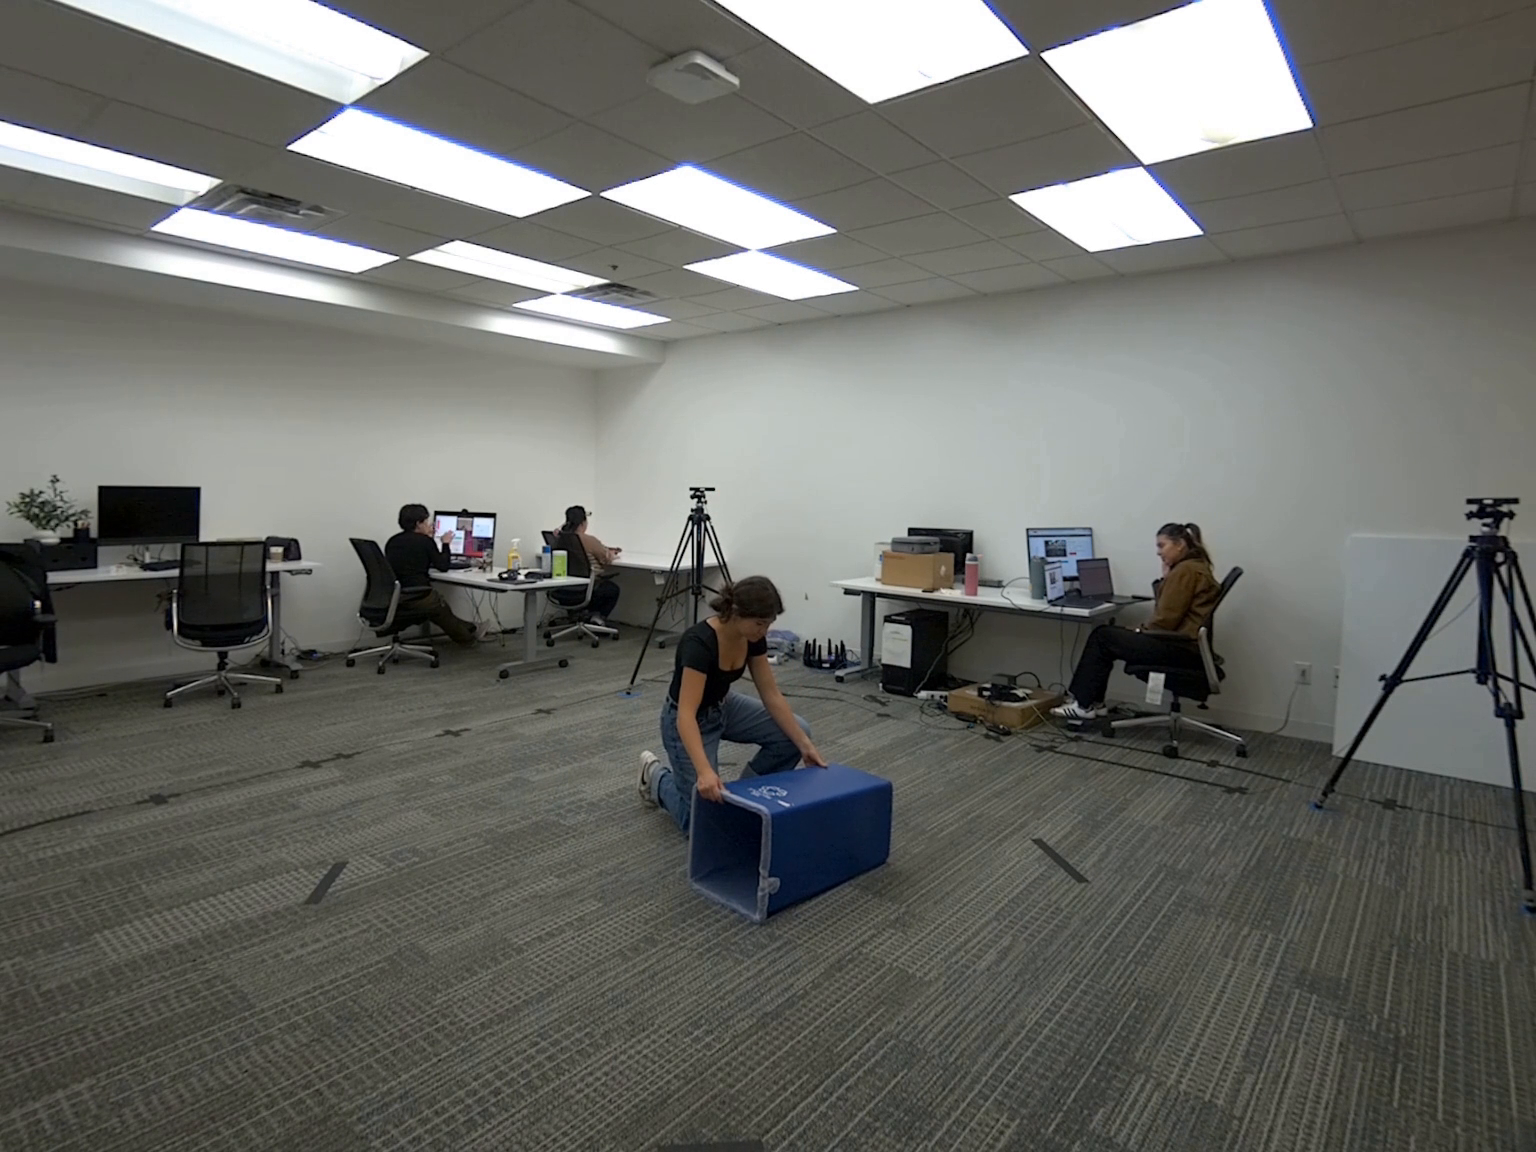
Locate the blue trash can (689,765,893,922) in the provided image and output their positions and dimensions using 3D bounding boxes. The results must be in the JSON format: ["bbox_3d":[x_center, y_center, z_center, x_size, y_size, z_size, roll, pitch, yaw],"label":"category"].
[{"bbox_3d":[0.098,0.913,3.065,0.690,0.378,0.387,1,3,-44],"label":"blue trash can"}]
